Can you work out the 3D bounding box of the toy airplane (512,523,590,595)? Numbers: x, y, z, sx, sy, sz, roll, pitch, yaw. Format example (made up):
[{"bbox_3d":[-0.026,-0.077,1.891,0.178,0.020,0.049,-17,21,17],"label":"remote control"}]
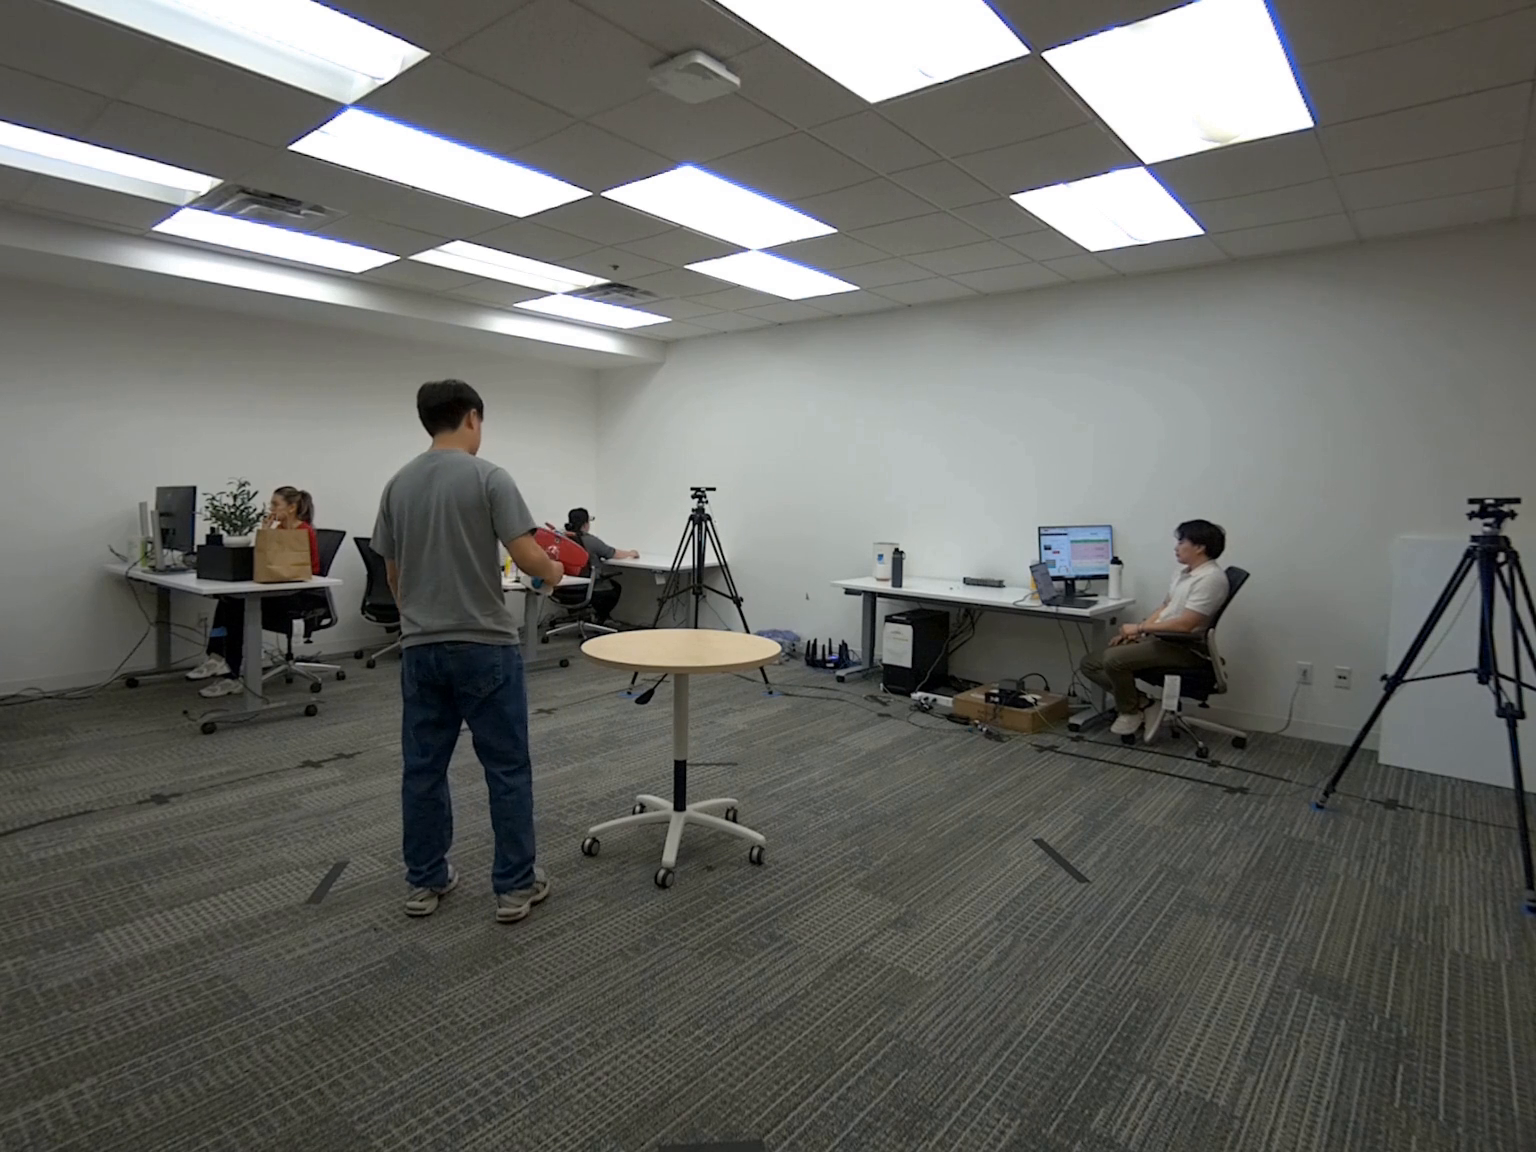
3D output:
[{"bbox_3d":[-0.792,-0.045,3.065,0.243,0.268,0.156,2,-40,-36],"label":"toy airplane"}]
